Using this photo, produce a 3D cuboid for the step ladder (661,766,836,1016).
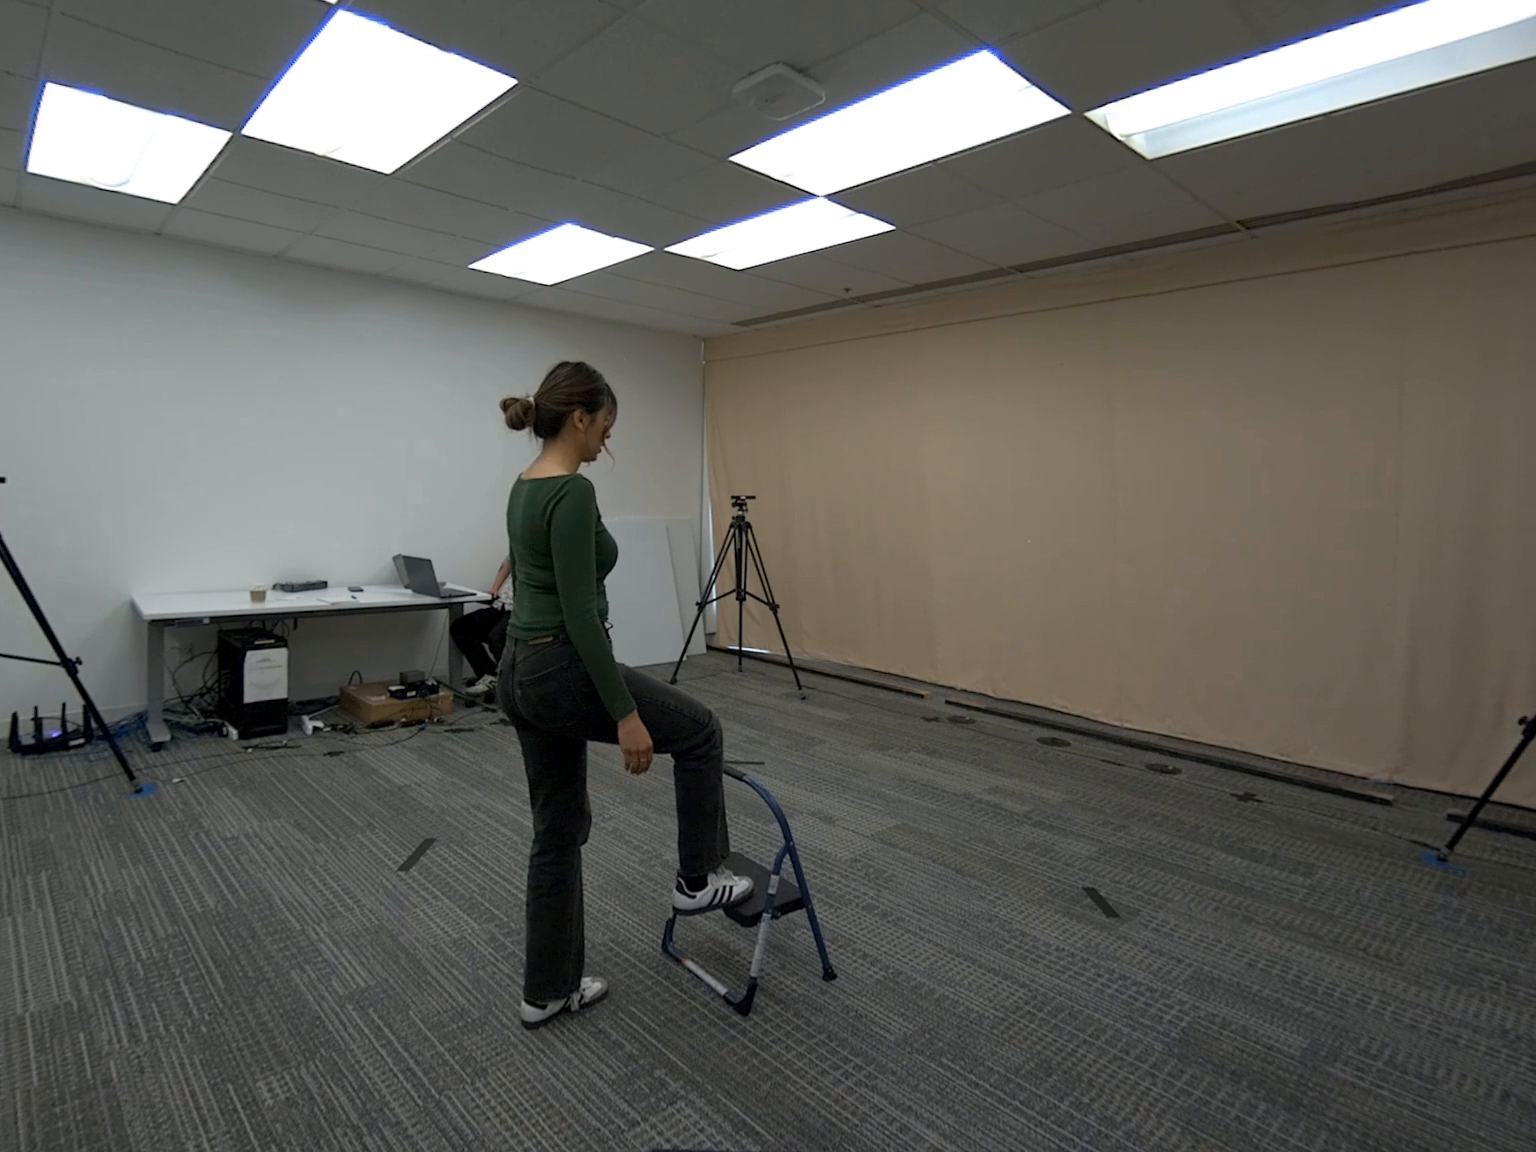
[{"bbox_3d":[-0.064,0.857,2.496,0.341,0.604,0.441,-2,5,-40],"label":"step ladder"}]
